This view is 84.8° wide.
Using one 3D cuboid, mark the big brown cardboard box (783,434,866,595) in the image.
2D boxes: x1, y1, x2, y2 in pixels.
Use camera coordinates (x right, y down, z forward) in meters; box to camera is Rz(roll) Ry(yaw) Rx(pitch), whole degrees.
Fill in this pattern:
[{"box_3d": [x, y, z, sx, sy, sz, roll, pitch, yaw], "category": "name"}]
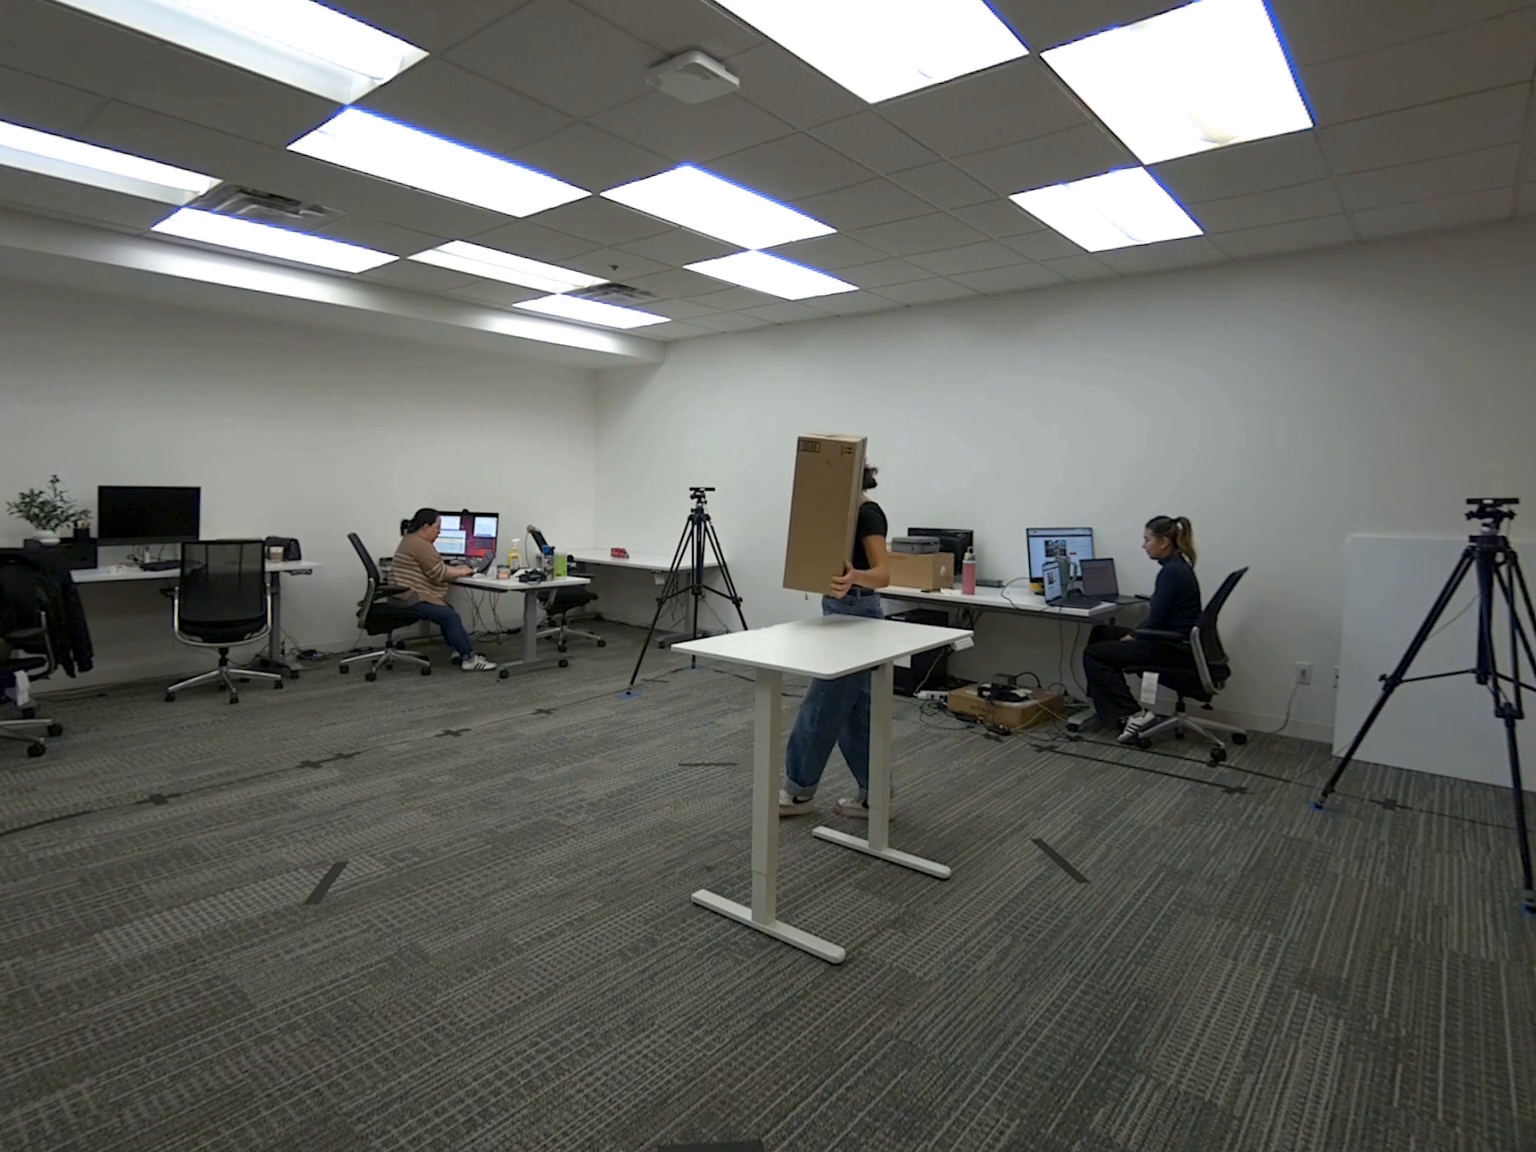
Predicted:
[{"box_3d": [0.218, -0.257, 3.270, 0.236, 0.583, 0.416, 7, 12, 11], "category": "big brown cardboard box"}]
